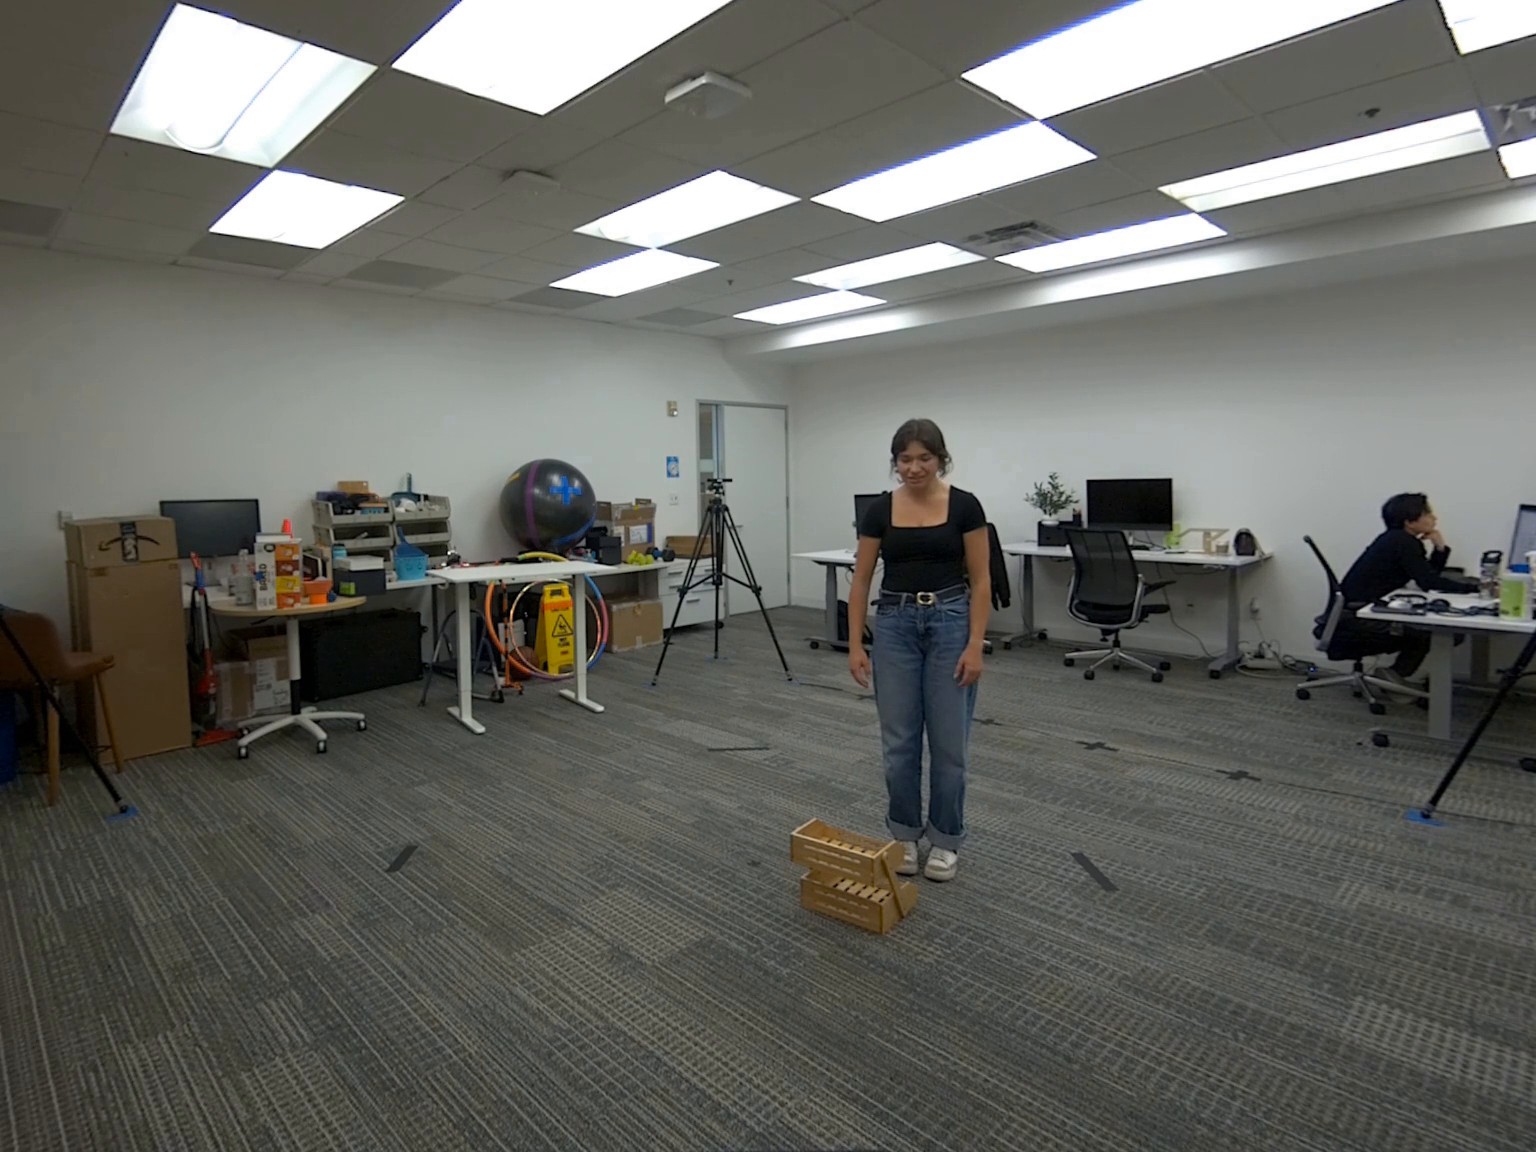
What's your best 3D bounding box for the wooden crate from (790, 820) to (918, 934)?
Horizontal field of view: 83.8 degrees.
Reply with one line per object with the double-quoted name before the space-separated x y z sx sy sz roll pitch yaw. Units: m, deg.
"wooden crate" 0.289 0.947 2.767 0.334 0.272 0.295 3 7 37
